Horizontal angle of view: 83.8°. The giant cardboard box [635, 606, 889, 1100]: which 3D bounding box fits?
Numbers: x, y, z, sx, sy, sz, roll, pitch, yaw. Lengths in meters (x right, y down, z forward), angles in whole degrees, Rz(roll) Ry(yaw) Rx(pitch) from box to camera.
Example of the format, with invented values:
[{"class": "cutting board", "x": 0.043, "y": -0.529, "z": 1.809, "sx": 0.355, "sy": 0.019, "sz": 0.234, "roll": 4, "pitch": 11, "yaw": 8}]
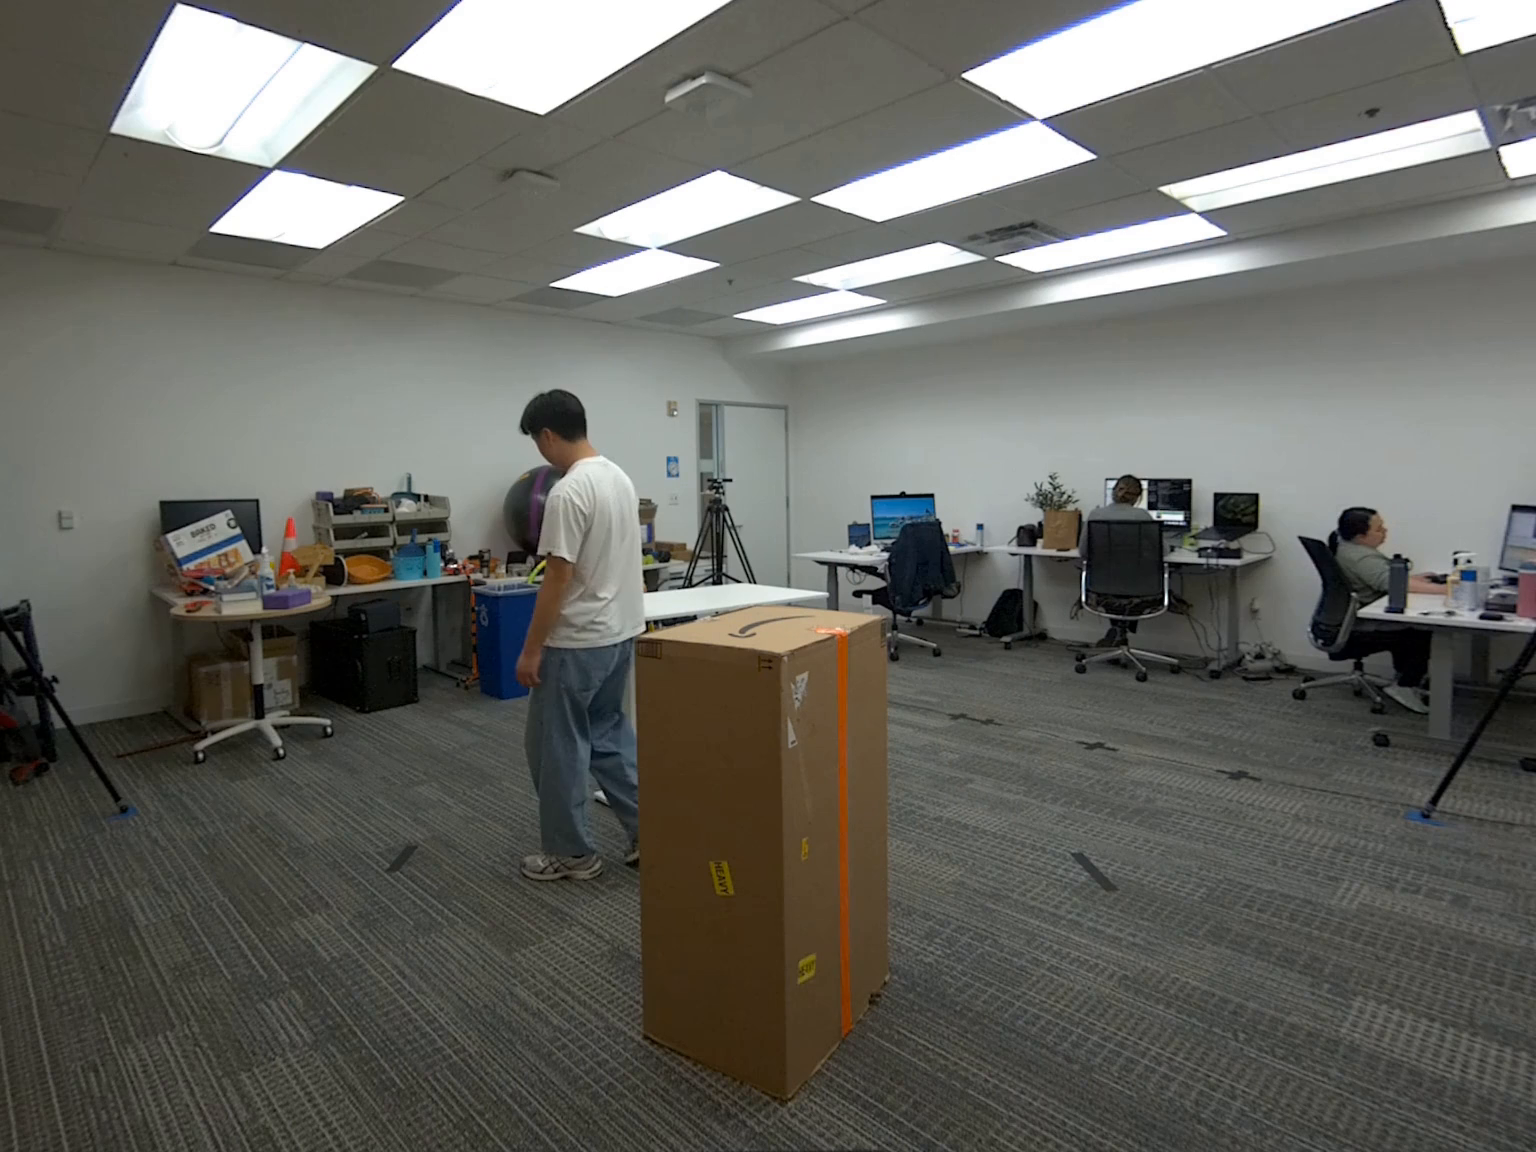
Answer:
[{"class": "giant cardboard box", "x": 0.011, "y": 0.636, "z": 2.239, "sx": 0.438, "sy": 1.022, "sz": 0.564, "roll": 2, "pitch": 5, "yaw": 33}]
